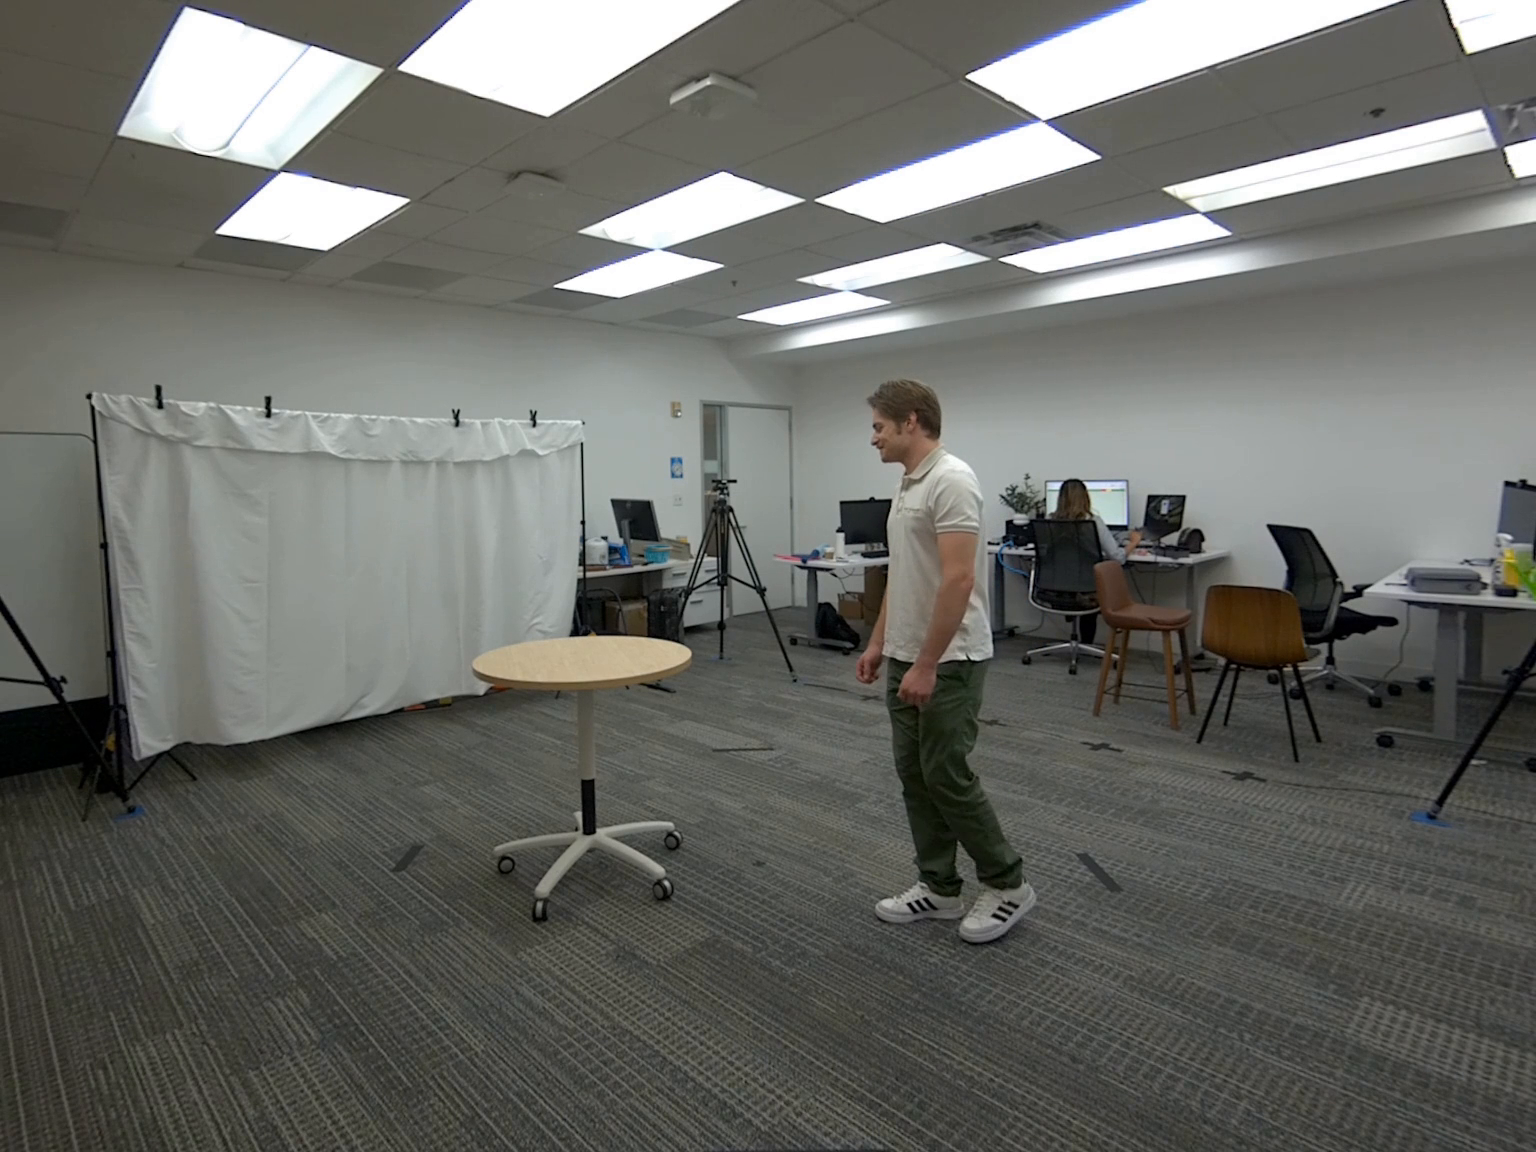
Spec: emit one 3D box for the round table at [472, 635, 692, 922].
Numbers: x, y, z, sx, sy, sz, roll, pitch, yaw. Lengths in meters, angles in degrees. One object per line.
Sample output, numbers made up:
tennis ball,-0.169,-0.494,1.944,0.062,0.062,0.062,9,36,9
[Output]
round table,-0.641,0.675,3.062,0.763,0.791,0.768,-1,5,-2
